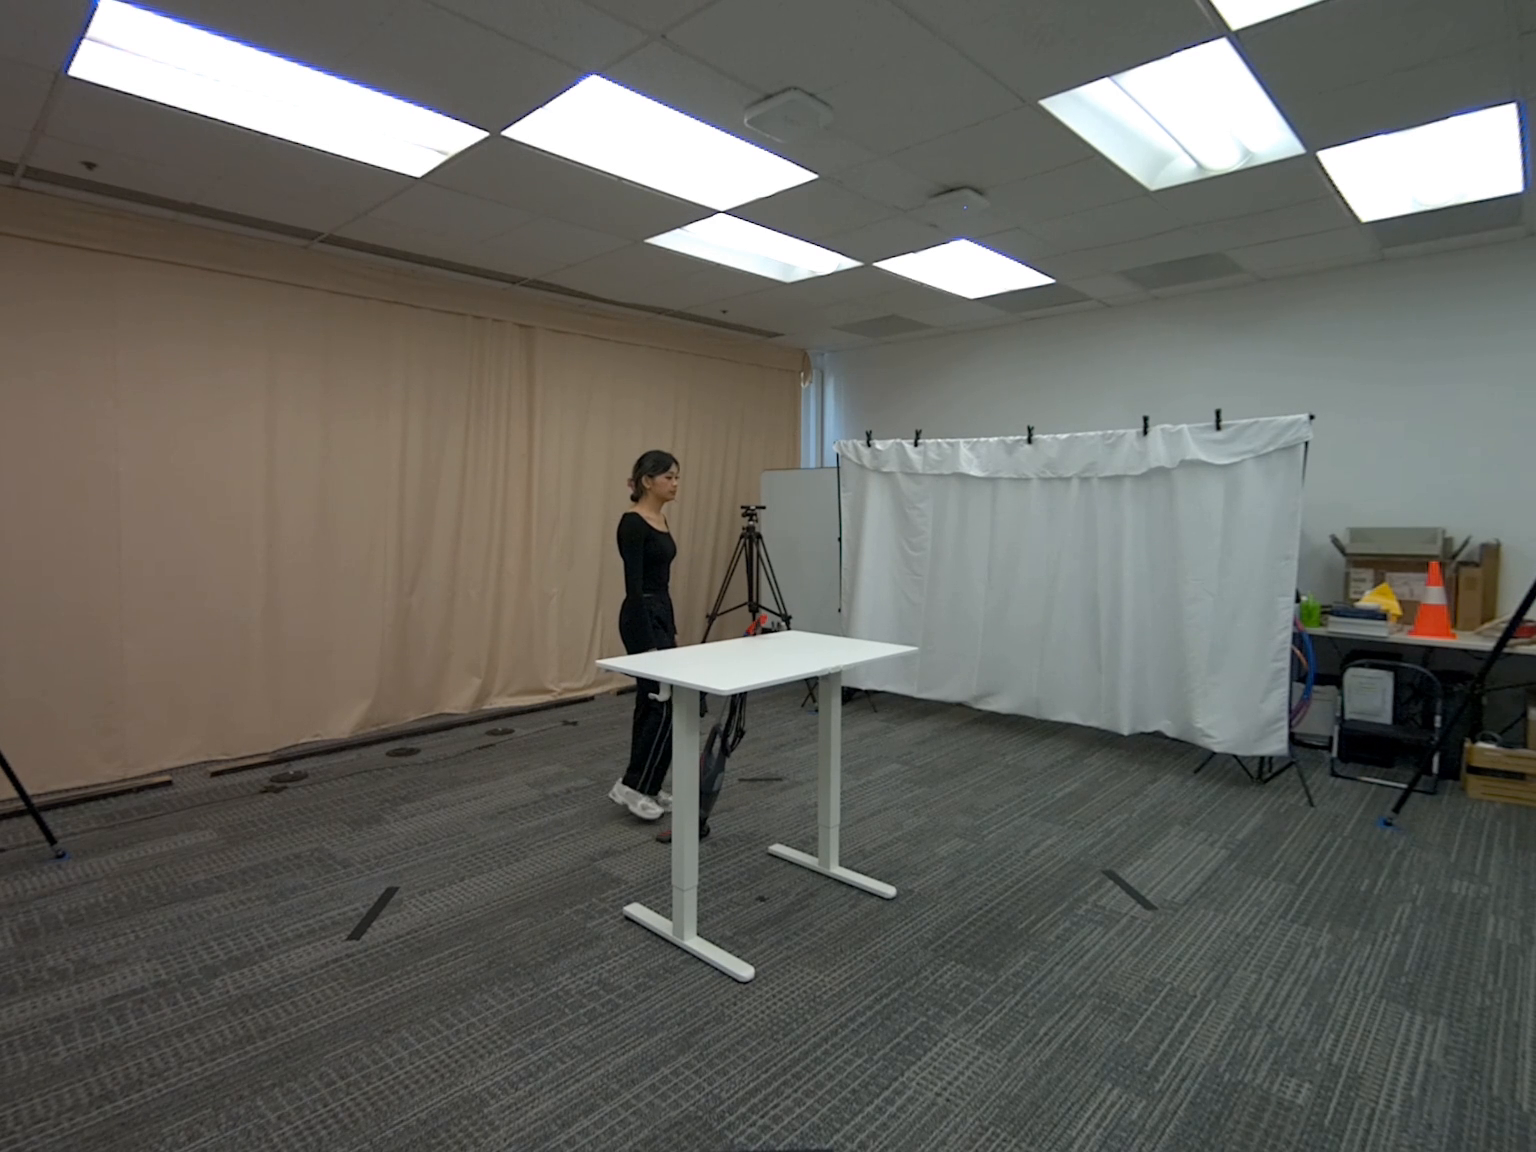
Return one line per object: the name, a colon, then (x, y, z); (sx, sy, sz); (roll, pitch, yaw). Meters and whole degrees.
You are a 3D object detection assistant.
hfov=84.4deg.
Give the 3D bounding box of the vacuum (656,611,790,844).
vacuum: (-0.175, 0.628, 3.398); (0.244, 1.045, 0.149); (1, 26, -46)
